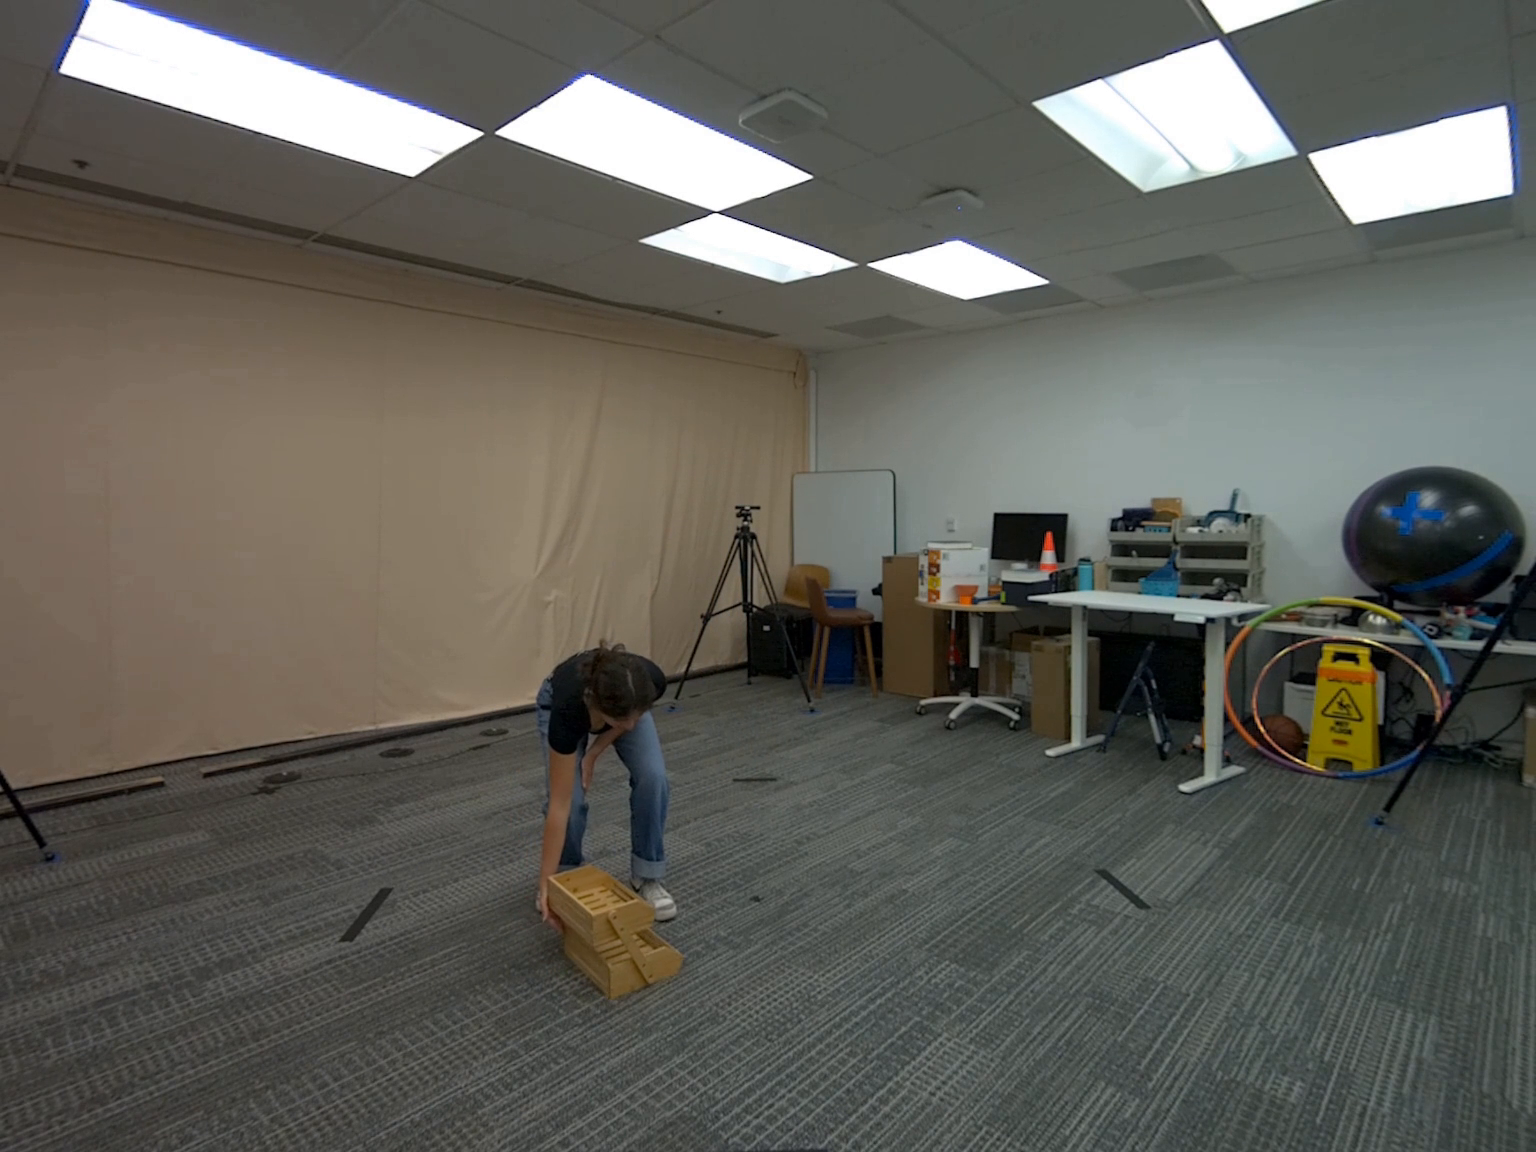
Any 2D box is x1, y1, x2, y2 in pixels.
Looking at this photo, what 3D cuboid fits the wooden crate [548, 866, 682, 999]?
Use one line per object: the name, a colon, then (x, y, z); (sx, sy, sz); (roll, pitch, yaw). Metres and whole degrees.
wooden crate: (-0.459, 1.046, 2.549); (0.293, 0.273, 0.335); (-4, 5, -38)
